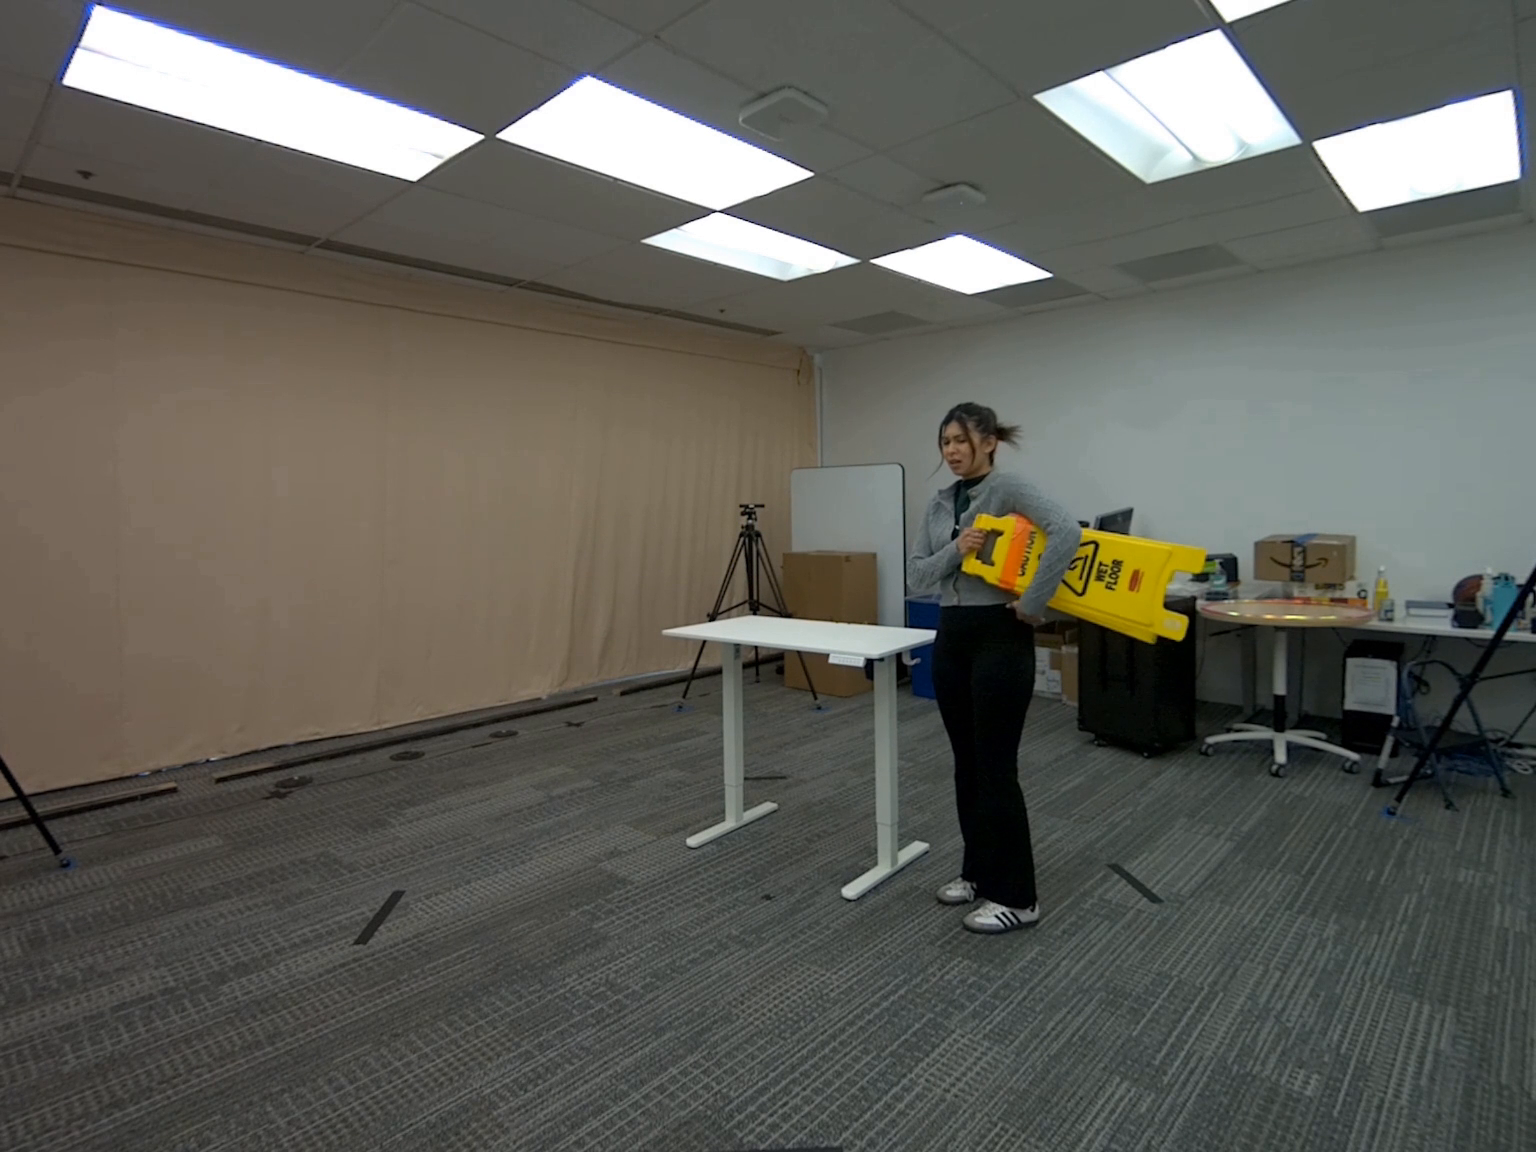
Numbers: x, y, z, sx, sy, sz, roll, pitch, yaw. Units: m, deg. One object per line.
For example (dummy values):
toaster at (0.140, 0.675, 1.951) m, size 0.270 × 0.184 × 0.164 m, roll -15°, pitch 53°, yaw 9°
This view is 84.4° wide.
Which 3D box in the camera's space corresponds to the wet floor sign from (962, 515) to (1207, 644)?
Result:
wet floor sign at (0.968, -0.011, 2.639) m, size 0.657 × 0.282 × 0.285 m, roll 18°, pitch -3°, yaw 13°
